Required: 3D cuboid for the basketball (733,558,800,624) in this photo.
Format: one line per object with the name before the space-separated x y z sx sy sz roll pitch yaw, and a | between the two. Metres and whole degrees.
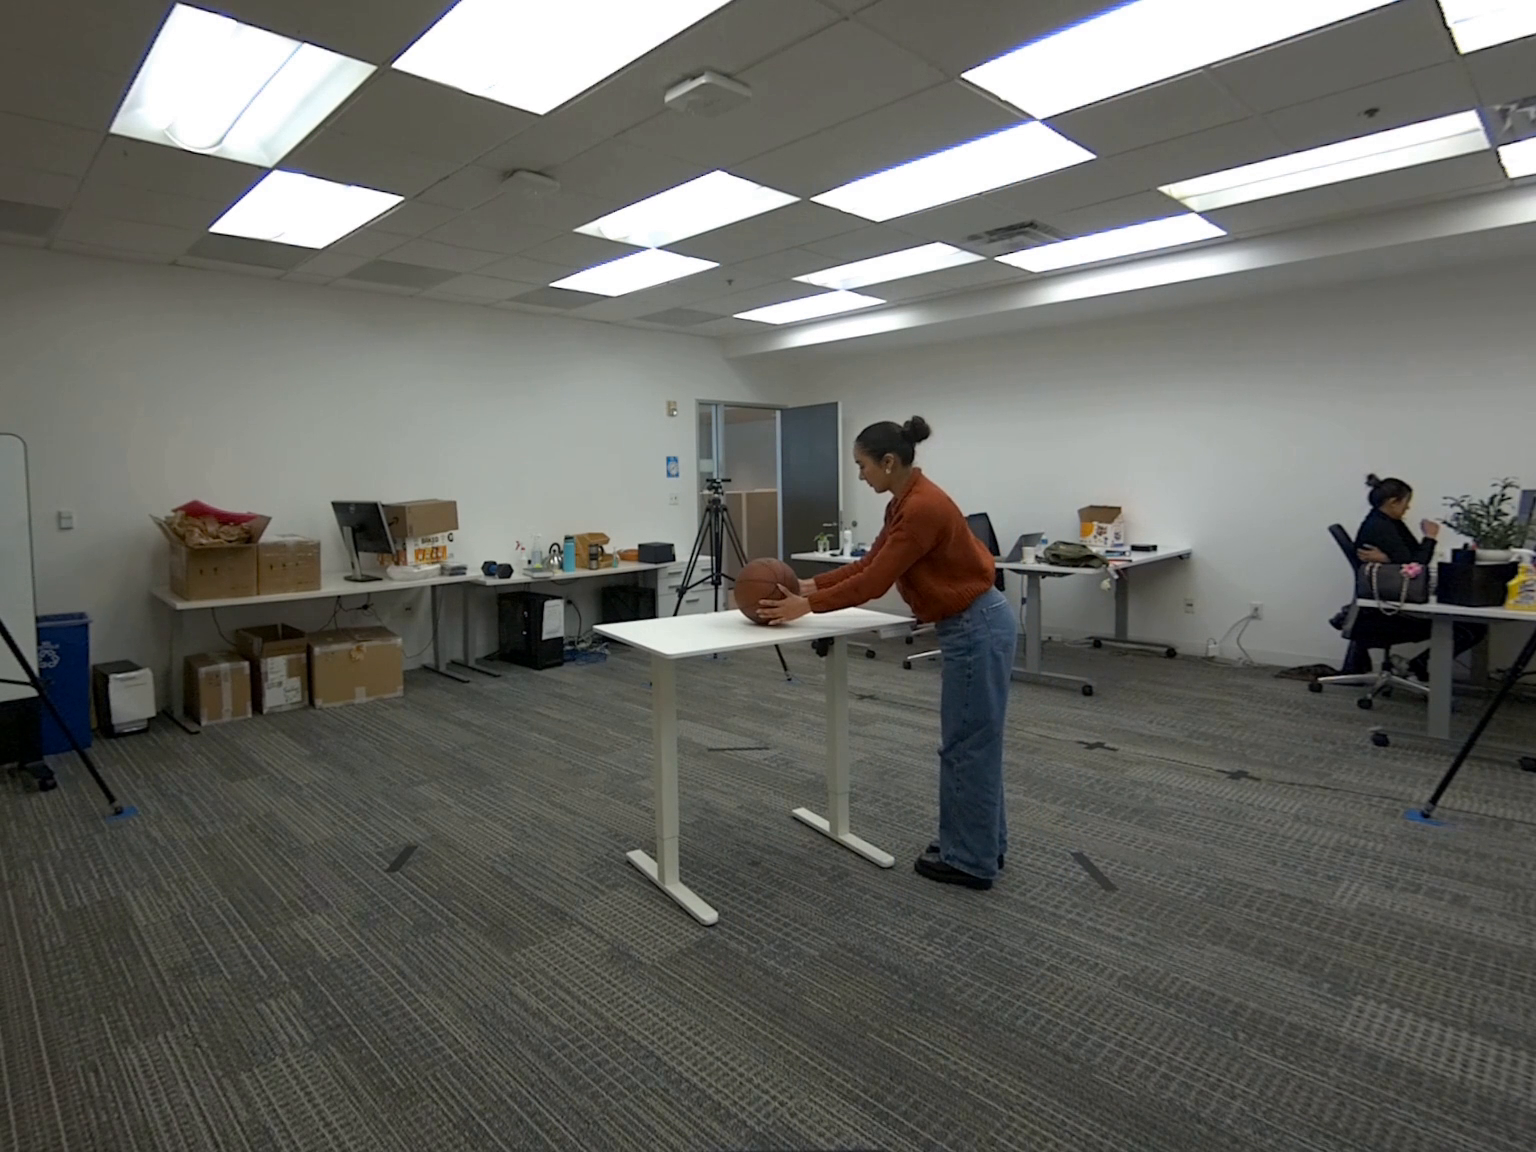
basketball | -0.003 0.050 3.055 0.236 0.235 0.237 -1 5 -2
